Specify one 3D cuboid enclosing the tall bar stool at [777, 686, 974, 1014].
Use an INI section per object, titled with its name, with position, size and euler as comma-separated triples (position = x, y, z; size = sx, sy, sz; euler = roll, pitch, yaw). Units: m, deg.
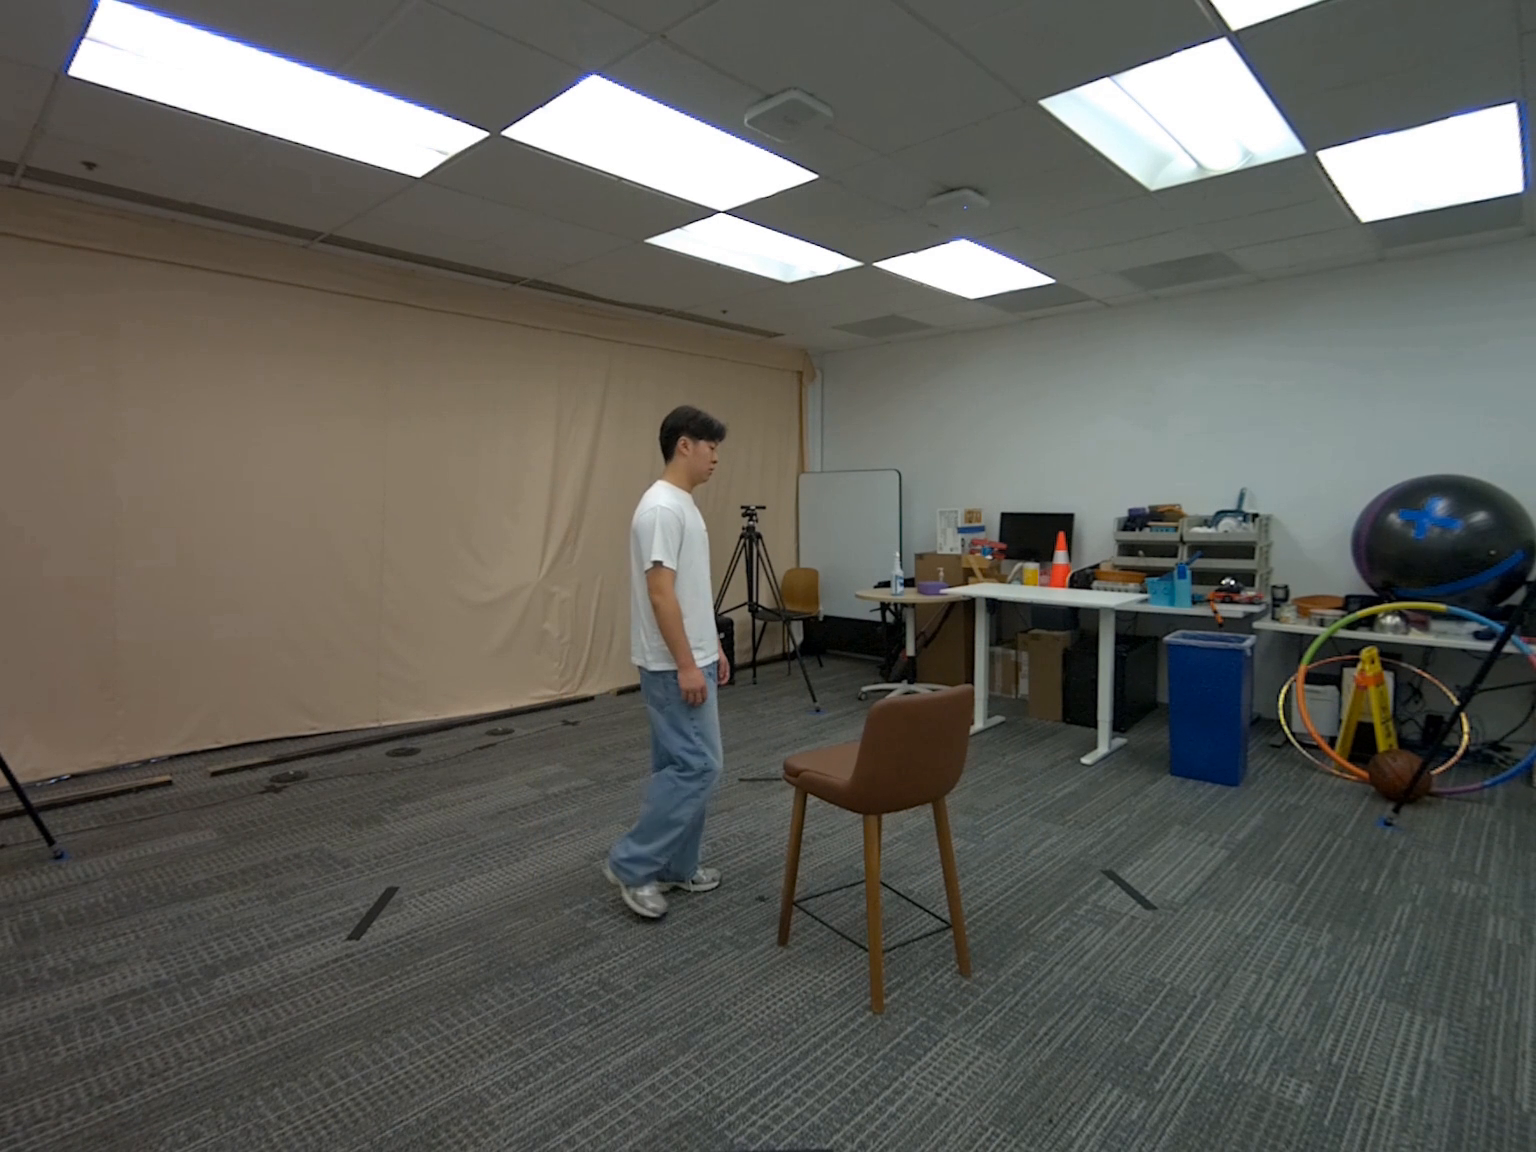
[tall bar stool]
position = 0.333, 0.742, 2.559
size = 0.443, 0.887, 0.482
euler = -2, 6, -34
